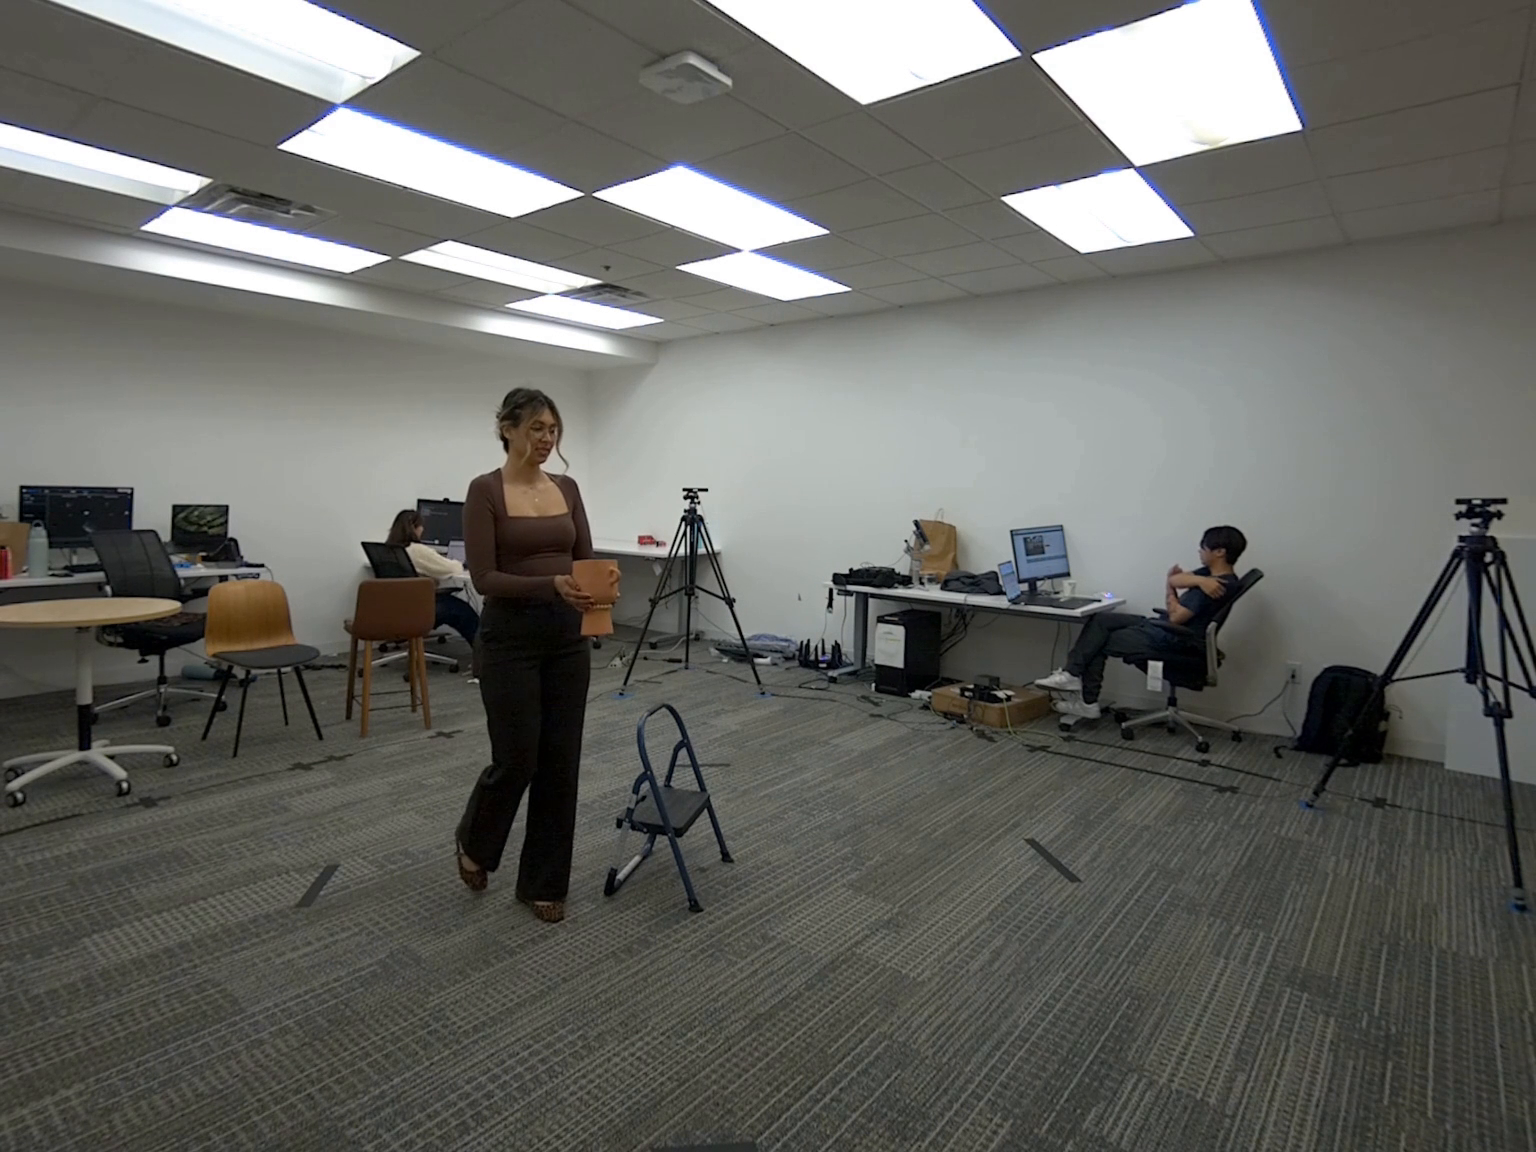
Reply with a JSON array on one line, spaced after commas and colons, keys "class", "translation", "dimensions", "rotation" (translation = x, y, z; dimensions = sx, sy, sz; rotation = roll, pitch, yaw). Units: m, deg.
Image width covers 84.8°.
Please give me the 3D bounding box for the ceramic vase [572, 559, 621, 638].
[{"class": "ceramic vase", "translation": [-0.532, 0.068, 2.544], "dimensions": [0.132, 0.220, 0.161], "rotation": [-2, -3, -17]}]
